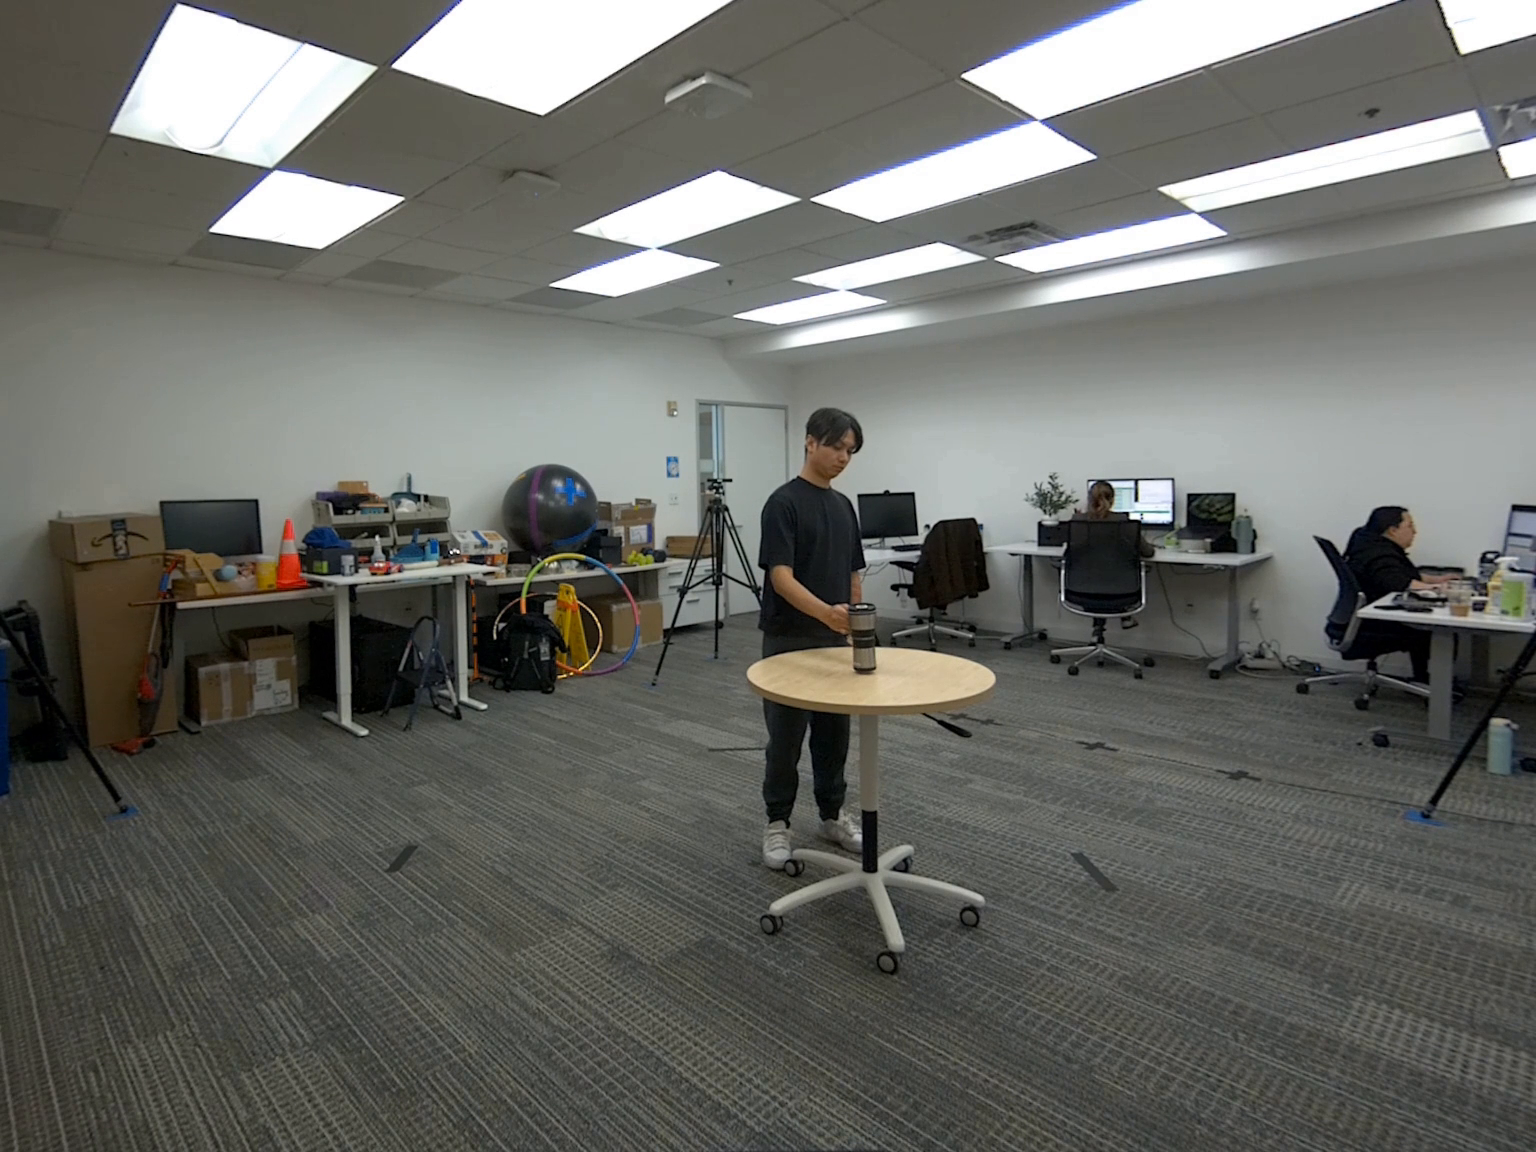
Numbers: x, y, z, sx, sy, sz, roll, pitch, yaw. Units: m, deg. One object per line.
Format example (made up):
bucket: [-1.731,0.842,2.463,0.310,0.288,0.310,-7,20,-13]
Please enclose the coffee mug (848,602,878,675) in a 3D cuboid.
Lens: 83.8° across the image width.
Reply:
coffee mug: [0.313,0.194,2.697,0.090,0.202,0.119,-7,3,40]
